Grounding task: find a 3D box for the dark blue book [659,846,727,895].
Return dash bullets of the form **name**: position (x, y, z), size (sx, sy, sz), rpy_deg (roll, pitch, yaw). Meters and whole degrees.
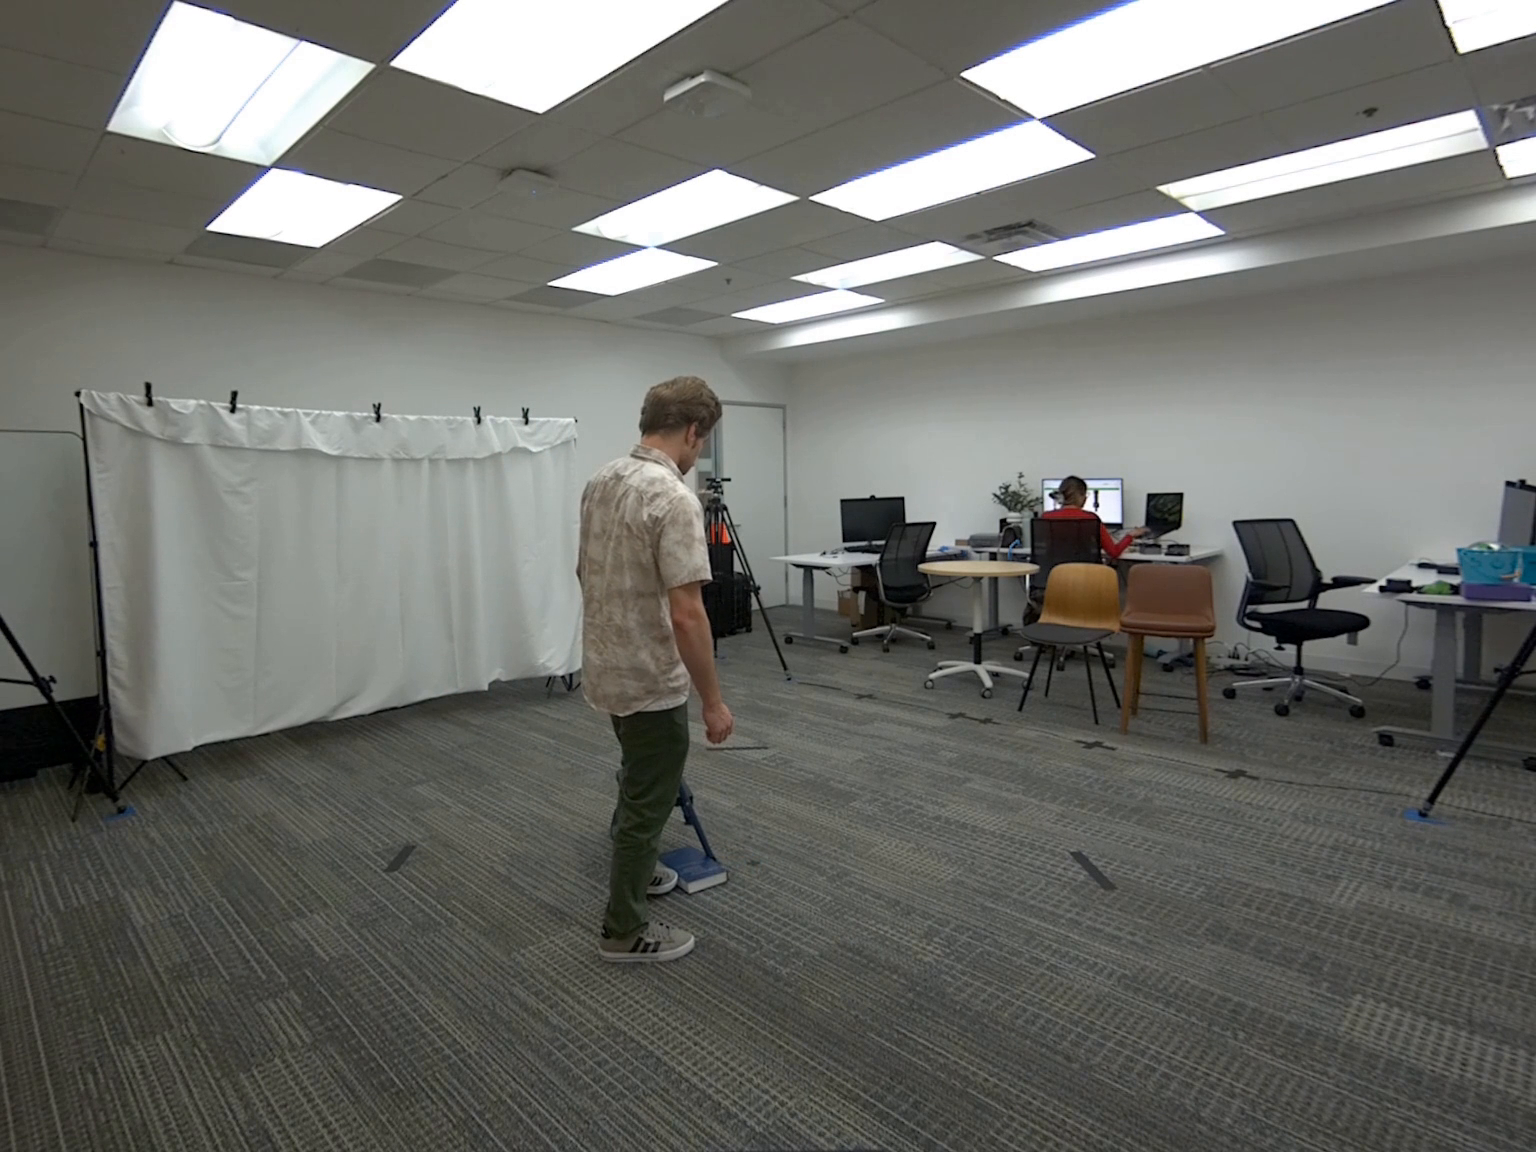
- **dark blue book**: position (-0.274, 1.034, 3.011), size (0.159, 0.045, 0.252), rpy_deg (-5, 8, -35)
